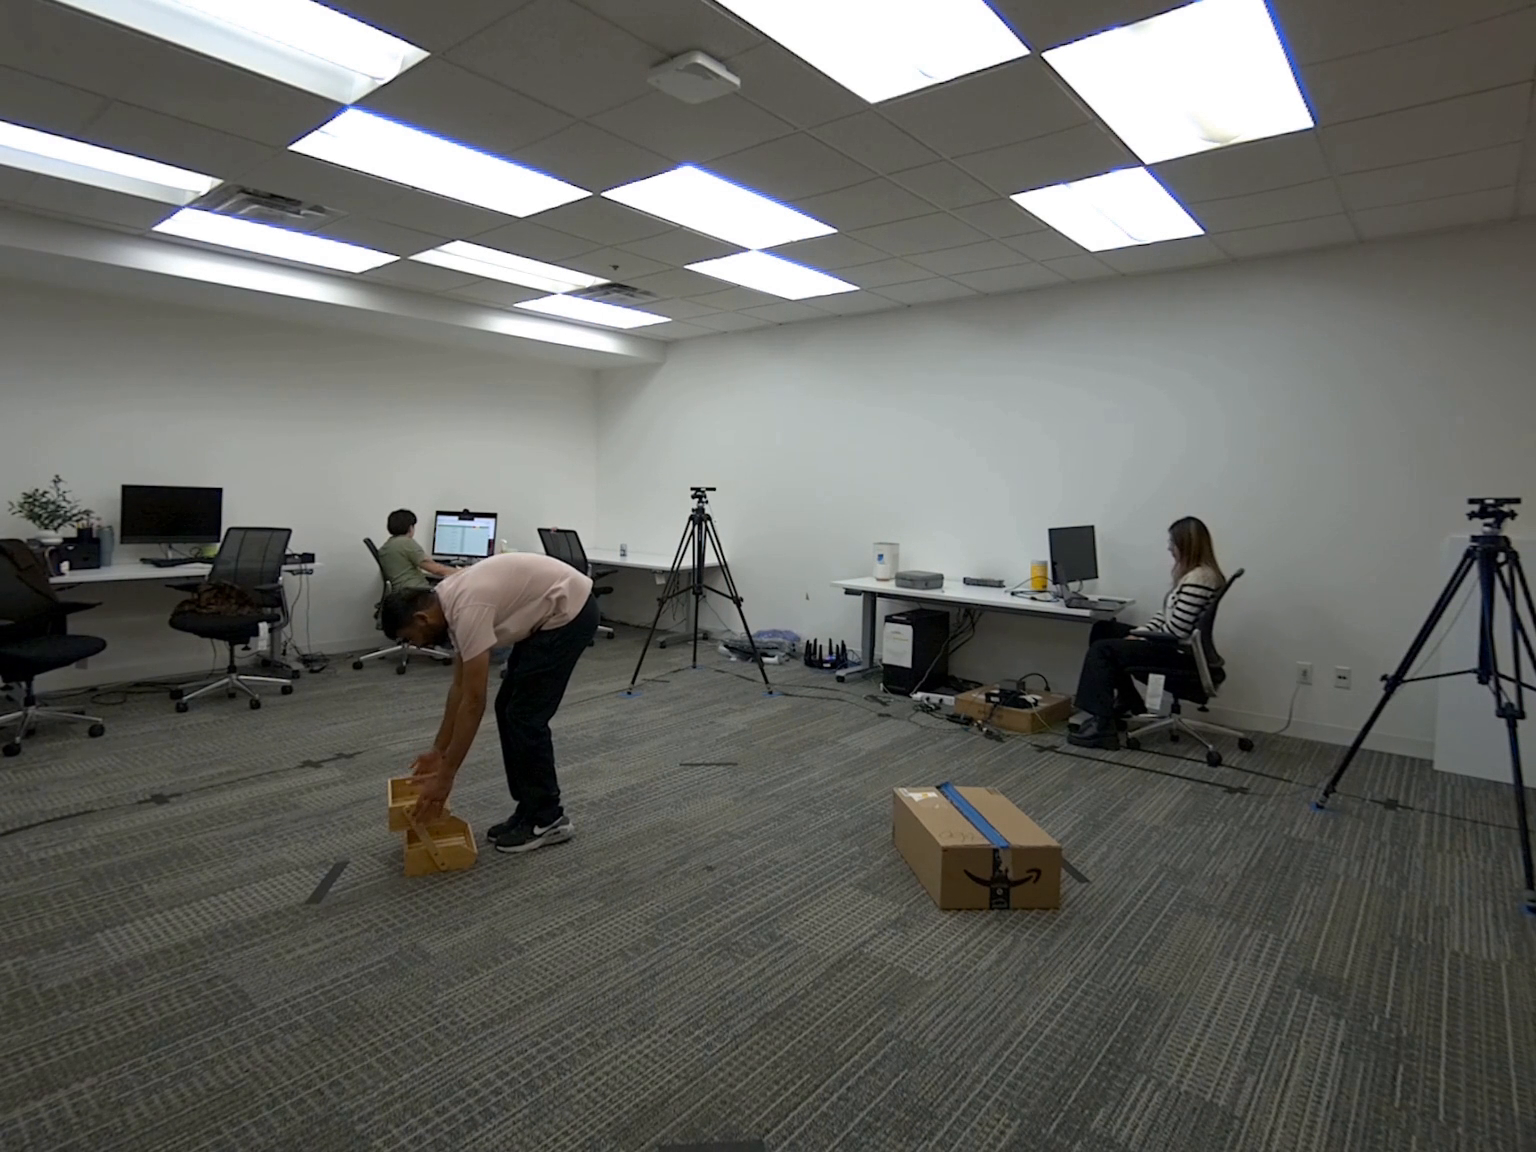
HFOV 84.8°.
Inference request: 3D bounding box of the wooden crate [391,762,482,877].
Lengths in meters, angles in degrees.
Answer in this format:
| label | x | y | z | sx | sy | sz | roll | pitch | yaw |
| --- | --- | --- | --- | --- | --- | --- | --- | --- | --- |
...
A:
| label | x | y | z | sx | sy | sz | roll | pitch | yaw |
| --- | --- | --- | --- | --- | --- | --- | --- | --- | --- |
| wooden crate | -1.255 | 0.903 | 3.167 | 0.295 | 0.272 | 0.333 | -2 | 5 | -24 |
